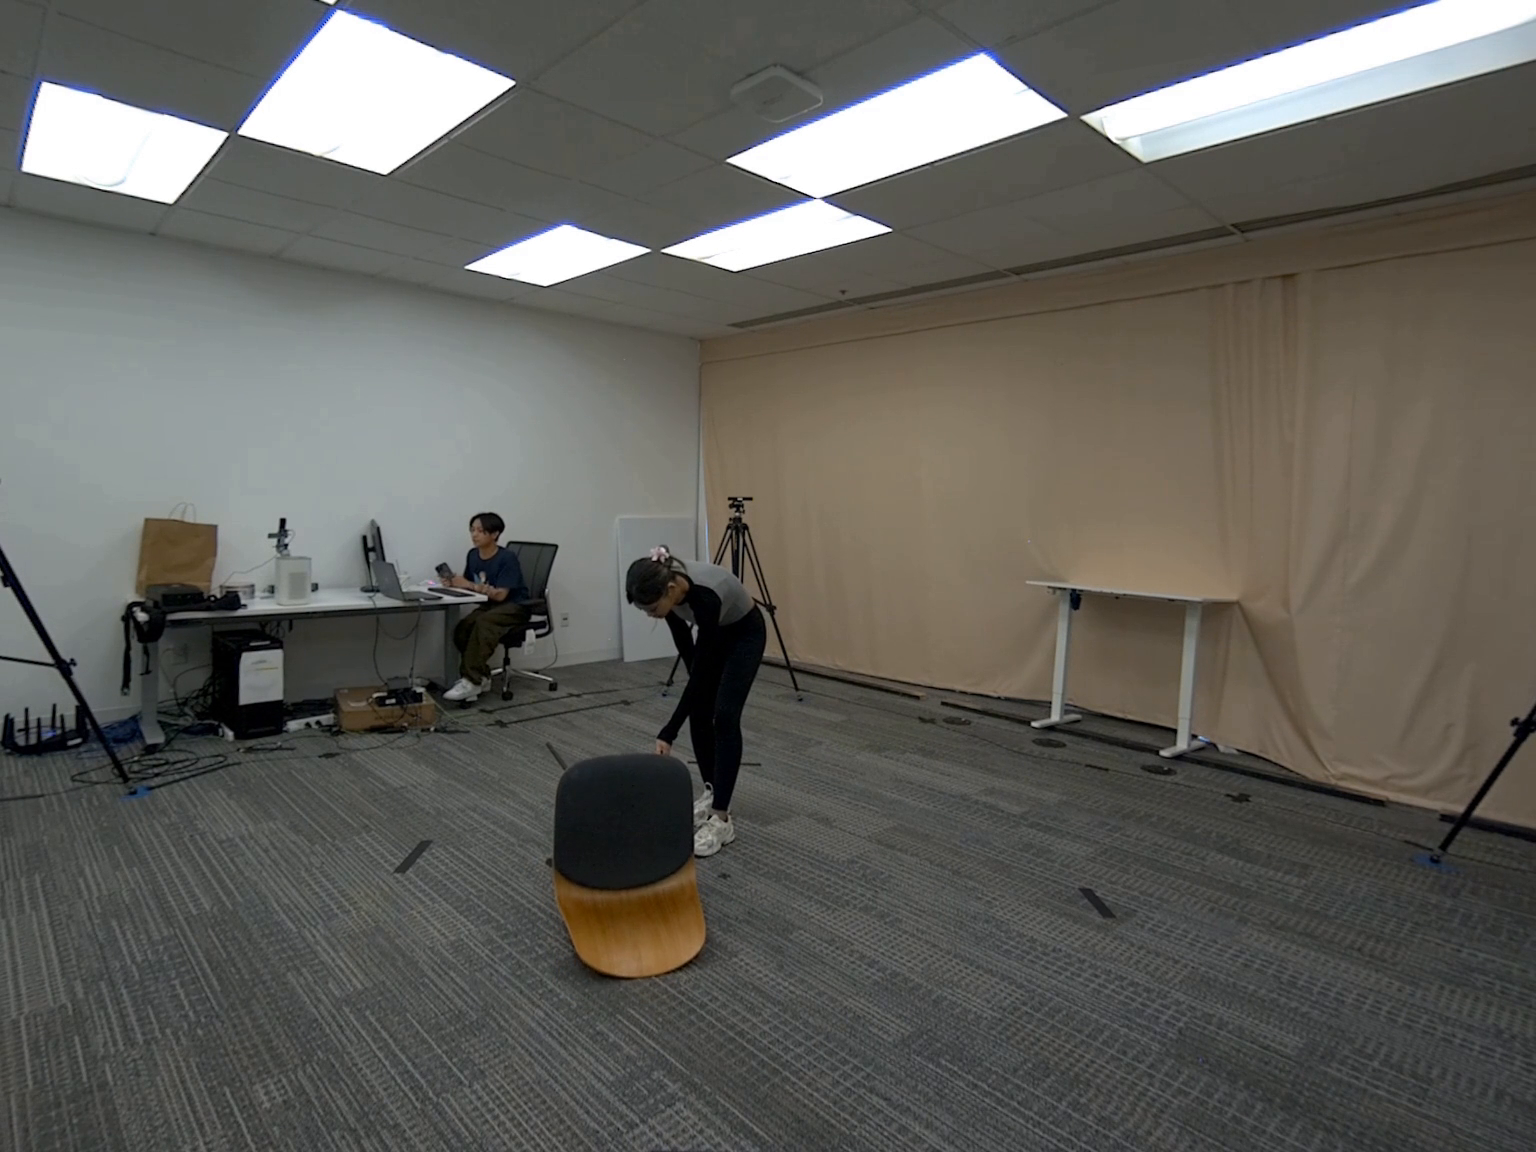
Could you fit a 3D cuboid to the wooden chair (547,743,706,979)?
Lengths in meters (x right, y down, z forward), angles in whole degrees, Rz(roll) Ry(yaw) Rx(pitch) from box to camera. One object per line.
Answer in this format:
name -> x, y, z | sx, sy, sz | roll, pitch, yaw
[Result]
wooden chair -> -0.492, 0.861, 2.832 | 0.472, 0.521, 0.892 | 0, 6, -18
